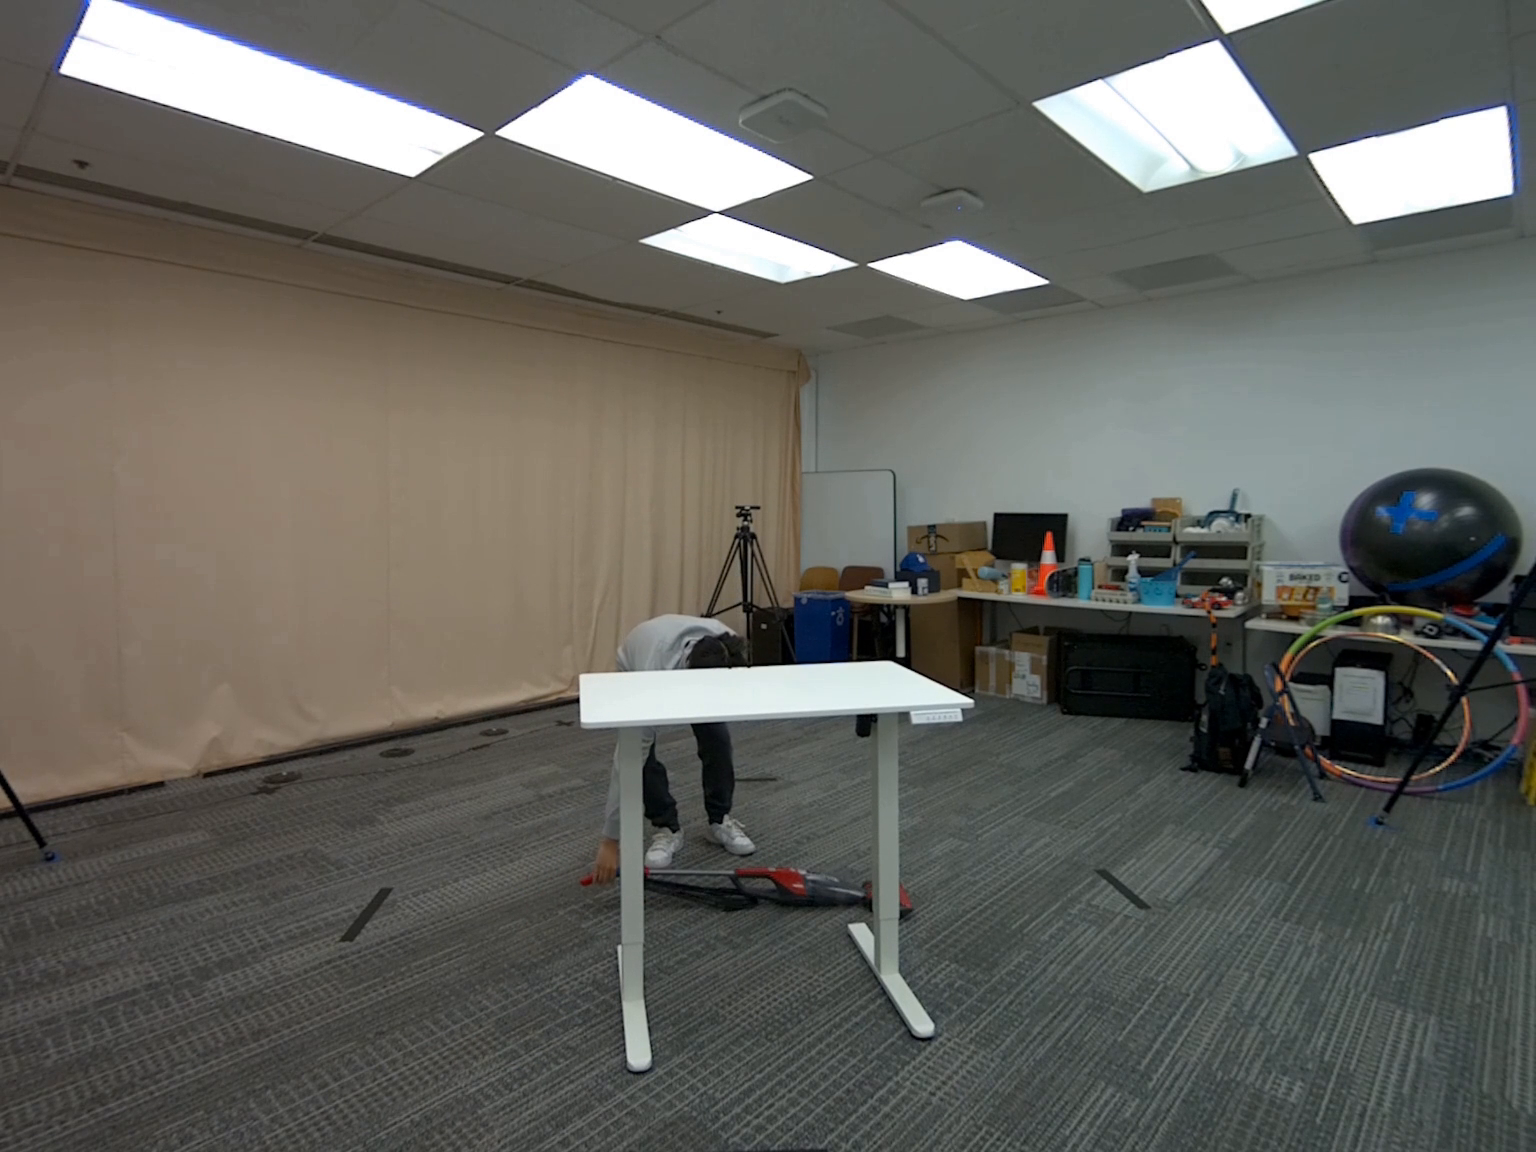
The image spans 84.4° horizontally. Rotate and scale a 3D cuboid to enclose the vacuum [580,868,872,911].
[{"bbox_3d":[-0.135,1.076,2.942,1.048,0.144,0.252,3,-4,-1],"label":"vacuum"}]
